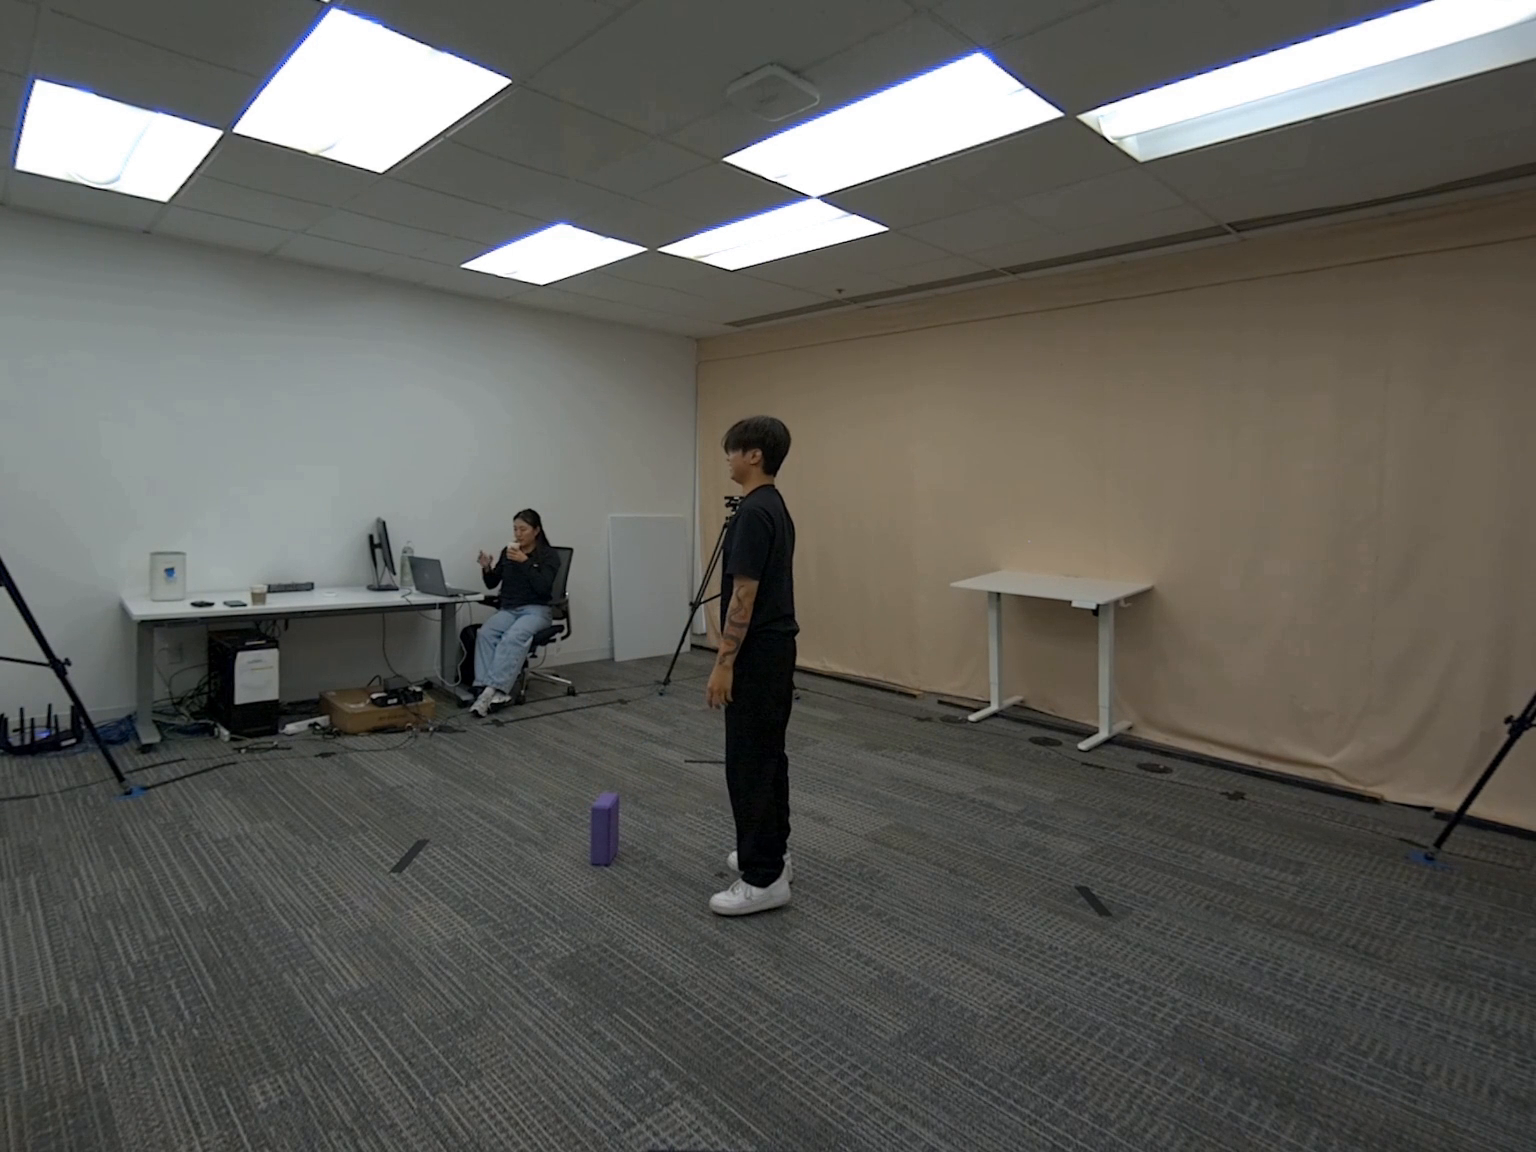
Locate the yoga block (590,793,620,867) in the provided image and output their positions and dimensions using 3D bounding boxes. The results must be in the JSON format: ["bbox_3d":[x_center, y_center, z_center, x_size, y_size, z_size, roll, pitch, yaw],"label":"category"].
[{"bbox_3d":[-0.630,0.970,3.221,0.077,0.228,0.149,1,5,4],"label":"yoga block"}]
